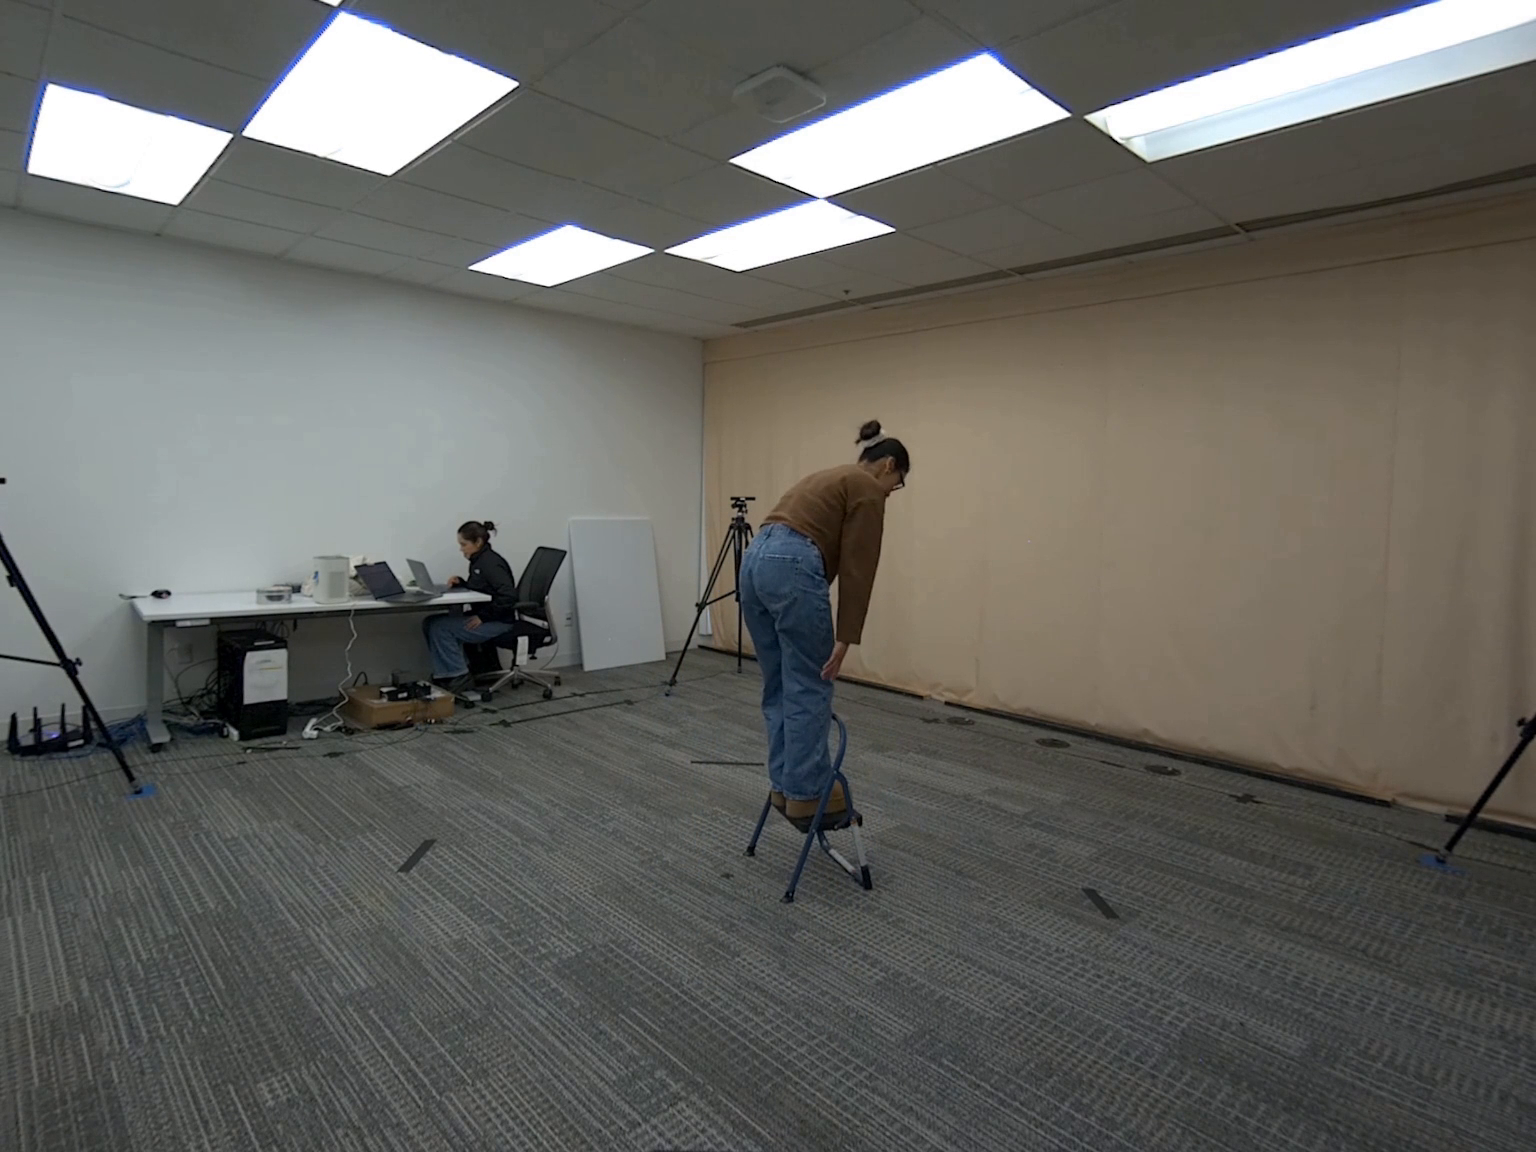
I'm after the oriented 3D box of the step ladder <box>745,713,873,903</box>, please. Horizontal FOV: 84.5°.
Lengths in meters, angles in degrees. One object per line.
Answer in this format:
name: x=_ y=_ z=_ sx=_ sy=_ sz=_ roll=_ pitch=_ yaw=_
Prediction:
step ladder: x=0.146 y=0.813 z=3.140 sx=0.344 sy=0.605 sz=0.438 roll=0 pitch=4 yaw=-21
